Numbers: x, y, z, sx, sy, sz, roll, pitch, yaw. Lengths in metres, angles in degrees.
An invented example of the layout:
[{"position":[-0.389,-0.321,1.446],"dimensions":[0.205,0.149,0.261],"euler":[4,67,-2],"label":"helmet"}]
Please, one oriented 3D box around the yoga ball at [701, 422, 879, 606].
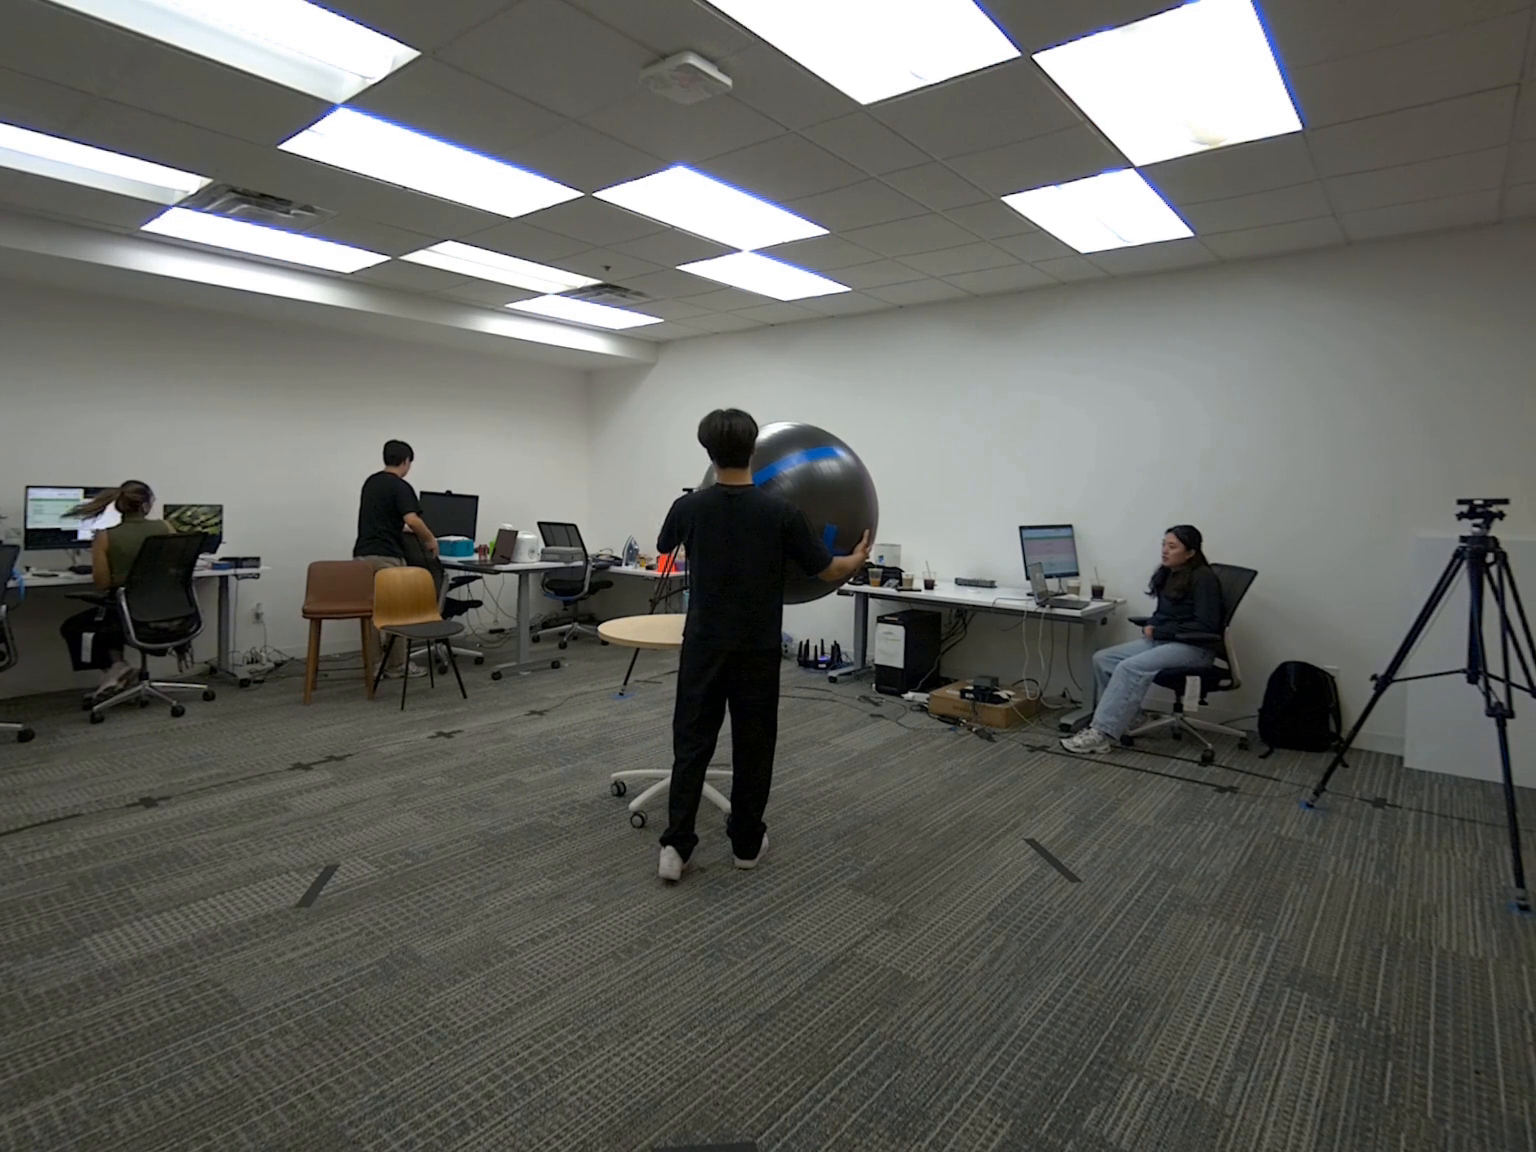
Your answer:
[{"position":[0.076,-0.260,3.567],"dimensions":[0.757,0.755,0.762],"euler":[1,4,-2],"label":"yoga ball"}]
